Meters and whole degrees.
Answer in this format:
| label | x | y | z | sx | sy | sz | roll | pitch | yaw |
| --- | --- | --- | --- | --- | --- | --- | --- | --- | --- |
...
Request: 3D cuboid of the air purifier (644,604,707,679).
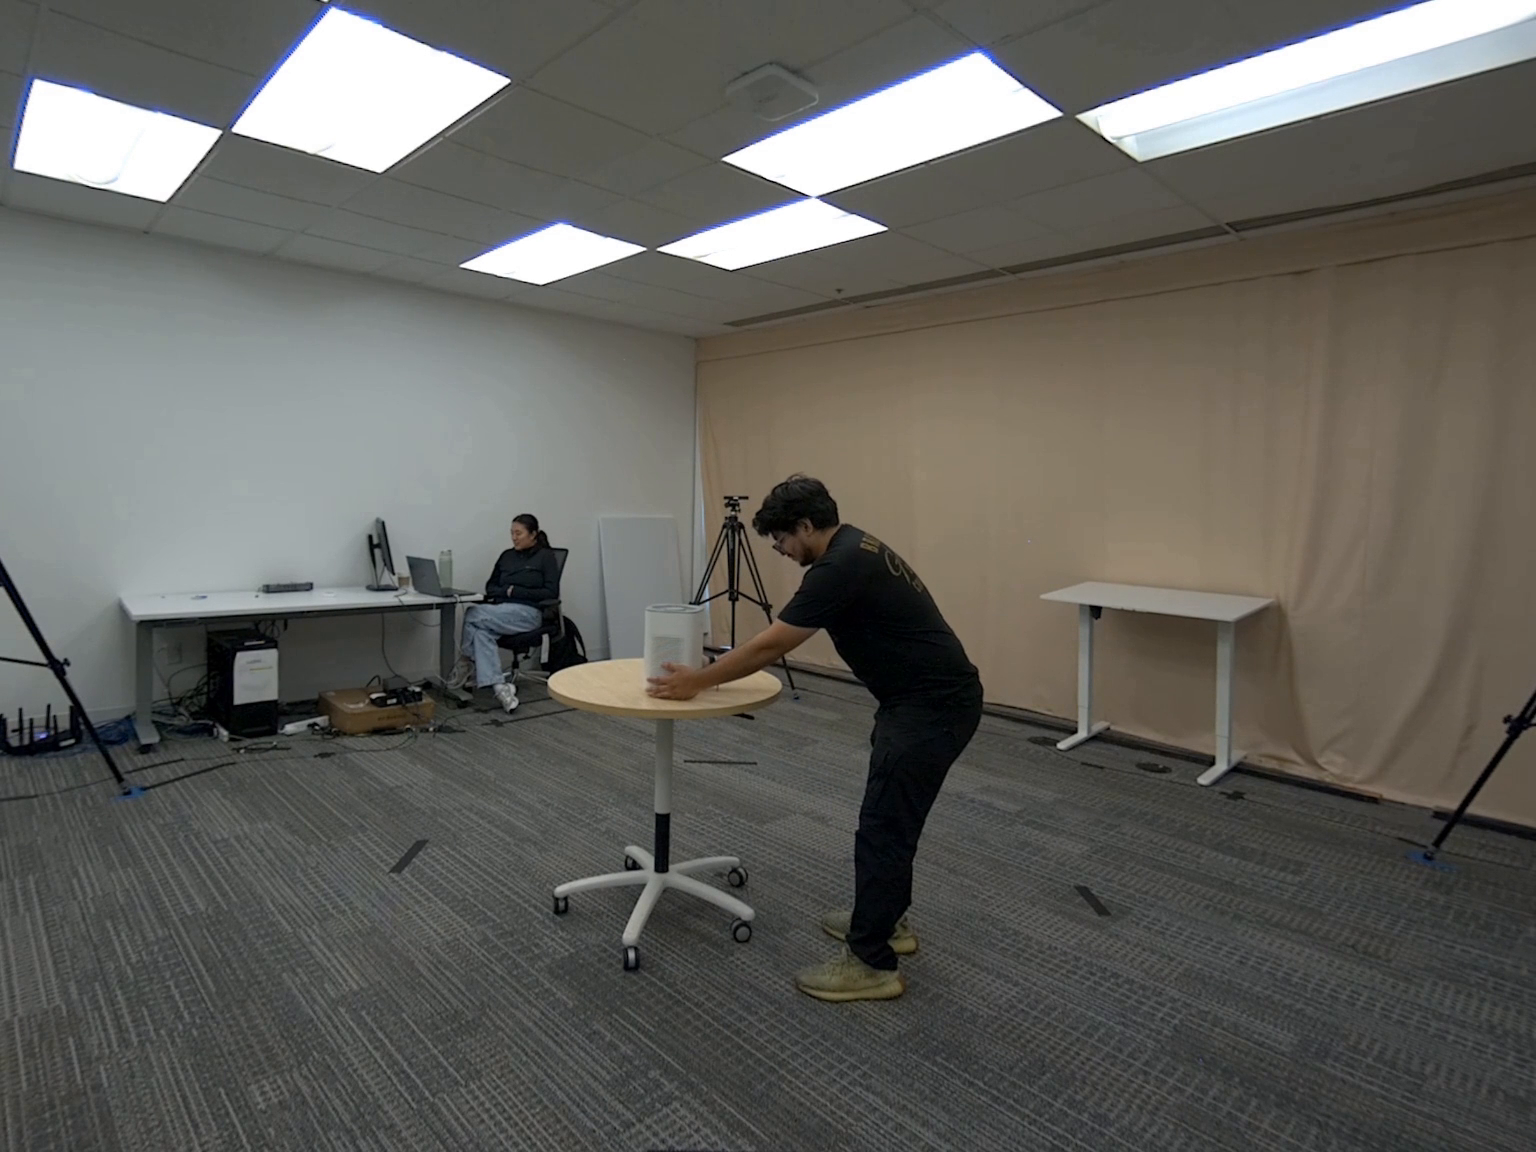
| label | x | y | z | sx | sy | sz | roll | pitch | yaw |
| --- | --- | --- | --- | --- | --- | --- | --- | --- | --- |
| air purifier | -0.290 | 0.228 | 2.607 | 0.173 | 0.264 | 0.170 | 2 | 5 | 11 |
